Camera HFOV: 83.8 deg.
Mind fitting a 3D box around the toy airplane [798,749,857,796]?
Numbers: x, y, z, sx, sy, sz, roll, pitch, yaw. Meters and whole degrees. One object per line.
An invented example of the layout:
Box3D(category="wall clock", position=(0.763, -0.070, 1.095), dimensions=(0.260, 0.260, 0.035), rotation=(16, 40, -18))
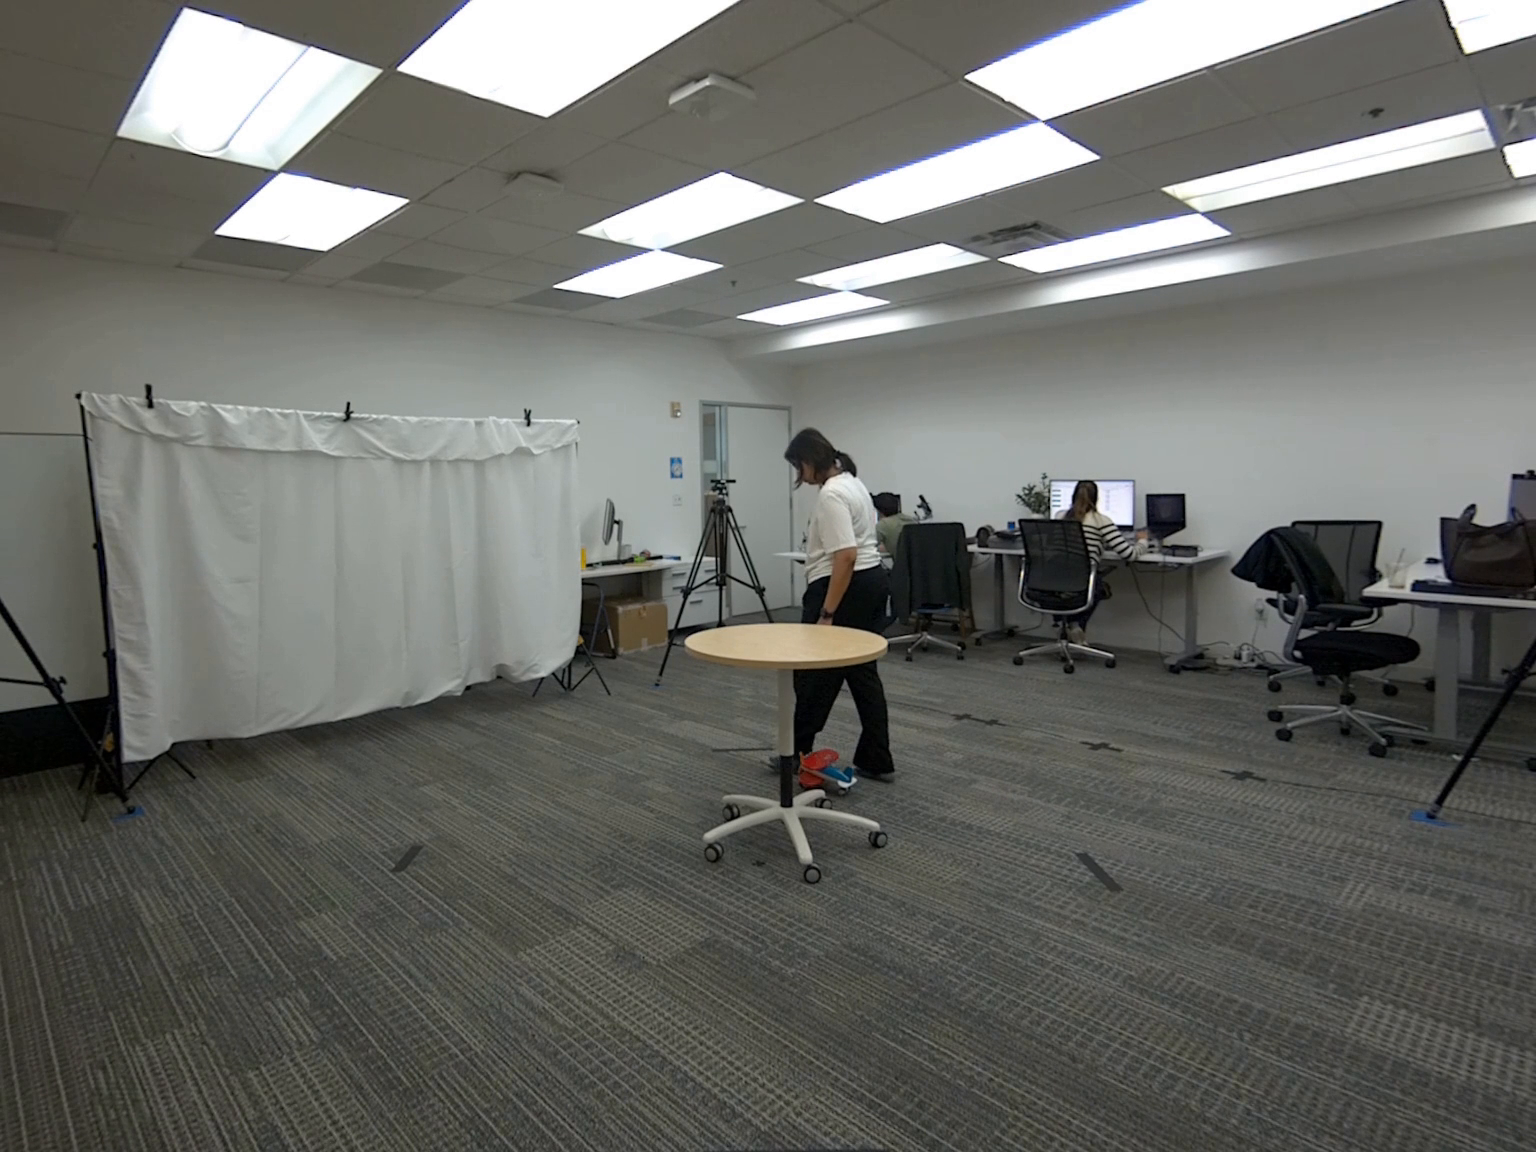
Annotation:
Box3D(category="toy airplane", position=(0.268, 0.887, 3.859), dimensions=(0.261, 0.156, 0.250), rotation=(0, 4, 7))
